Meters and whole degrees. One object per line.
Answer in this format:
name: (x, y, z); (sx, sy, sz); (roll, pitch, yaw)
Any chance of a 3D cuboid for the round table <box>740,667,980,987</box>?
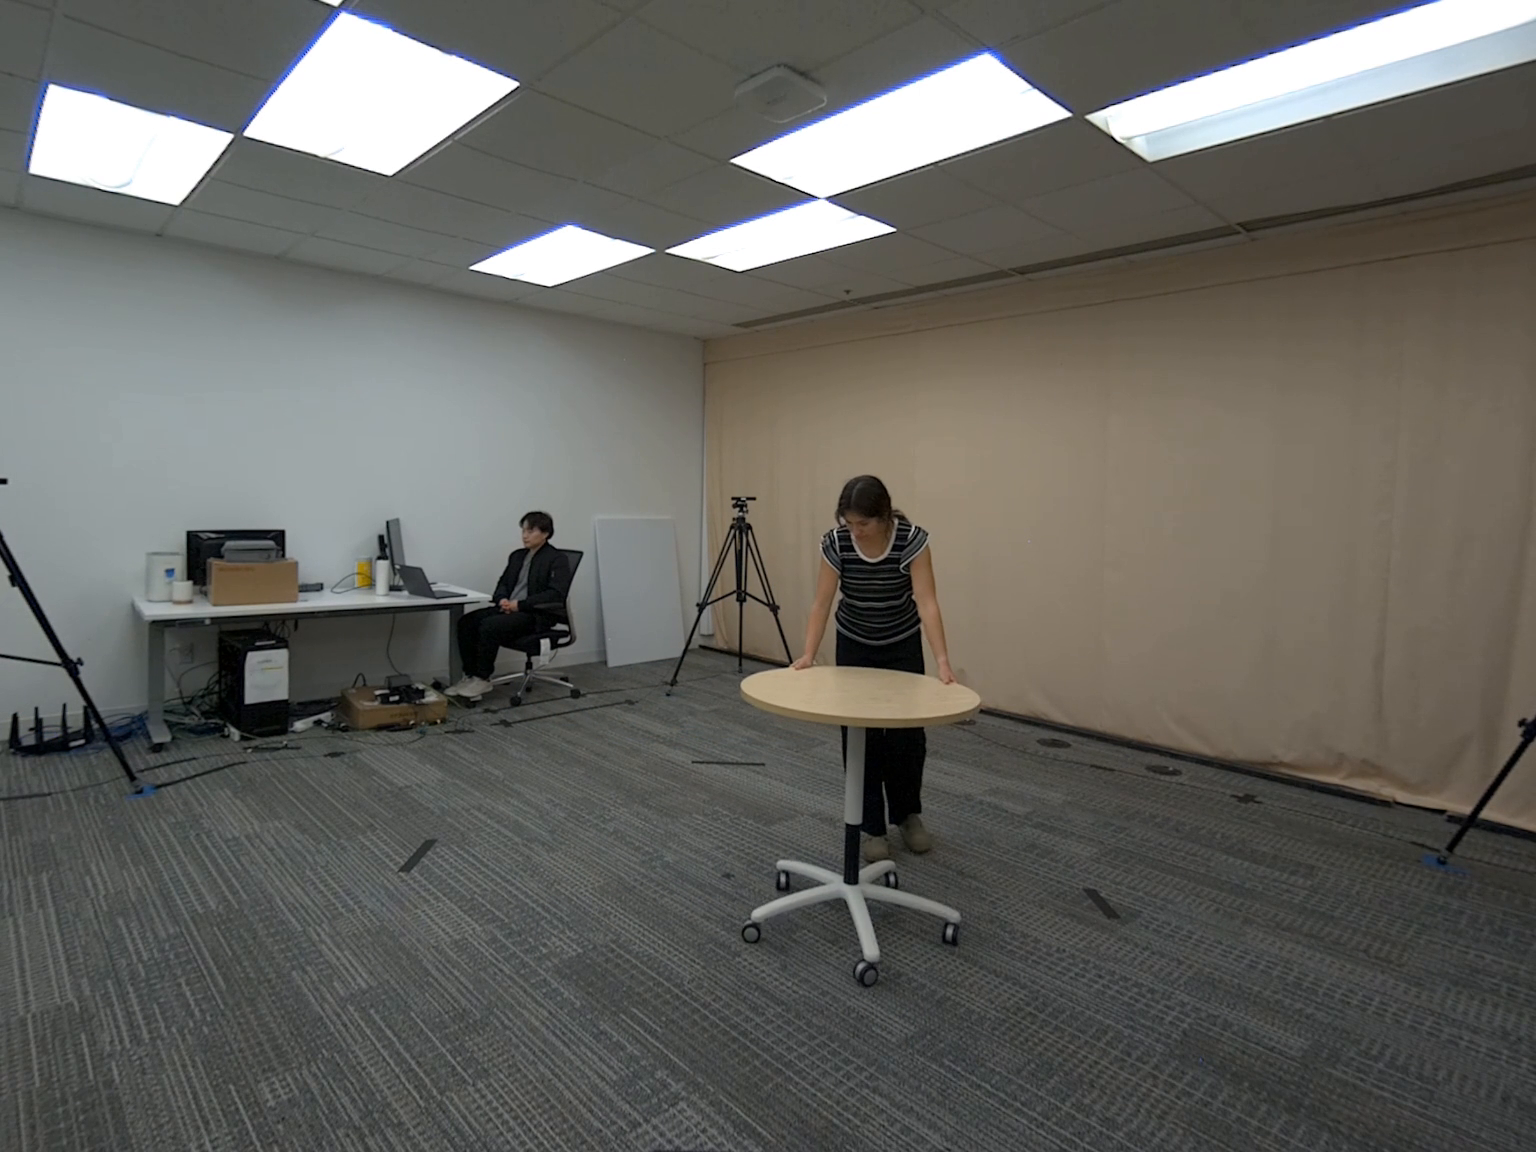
round table: (0.264, 0.761, 2.747); (0.763, 0.792, 0.766); (2, 4, -1)
